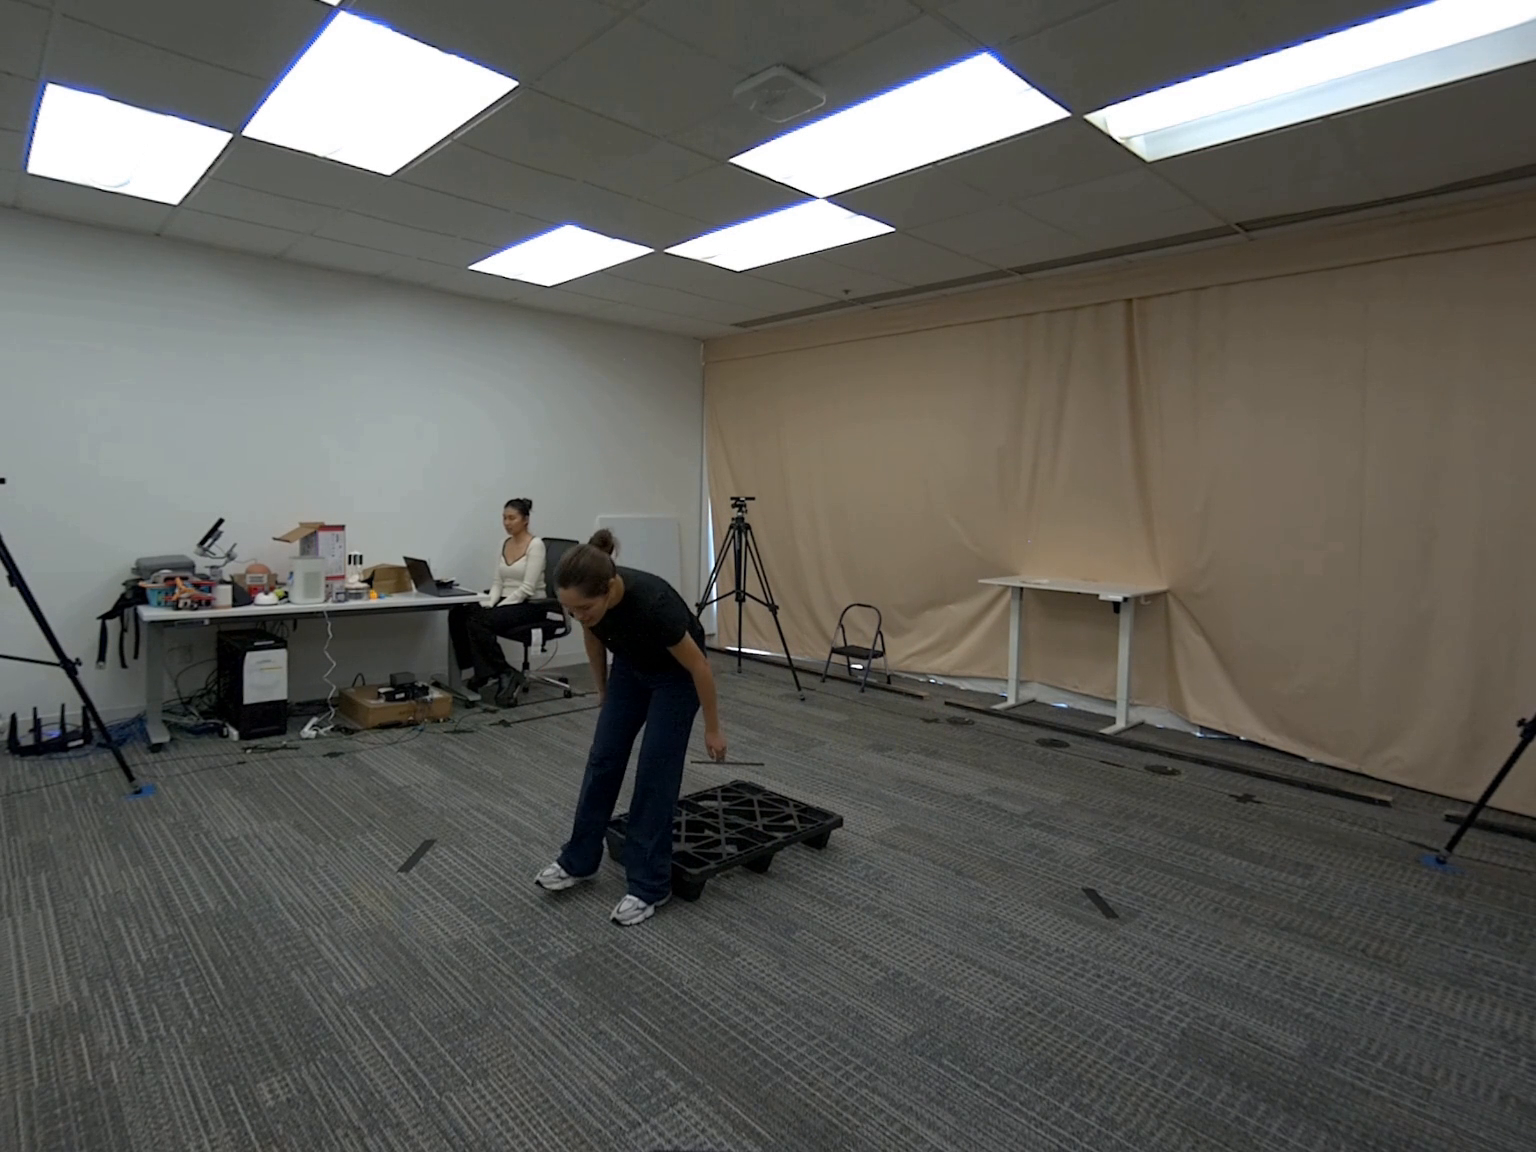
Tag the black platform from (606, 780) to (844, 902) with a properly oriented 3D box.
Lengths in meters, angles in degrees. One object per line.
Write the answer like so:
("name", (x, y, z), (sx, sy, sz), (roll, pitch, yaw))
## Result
("black platform", (-0.191, 1.025, 3.295), (0.620, 0.143, 0.787), (5, 6, 45))
